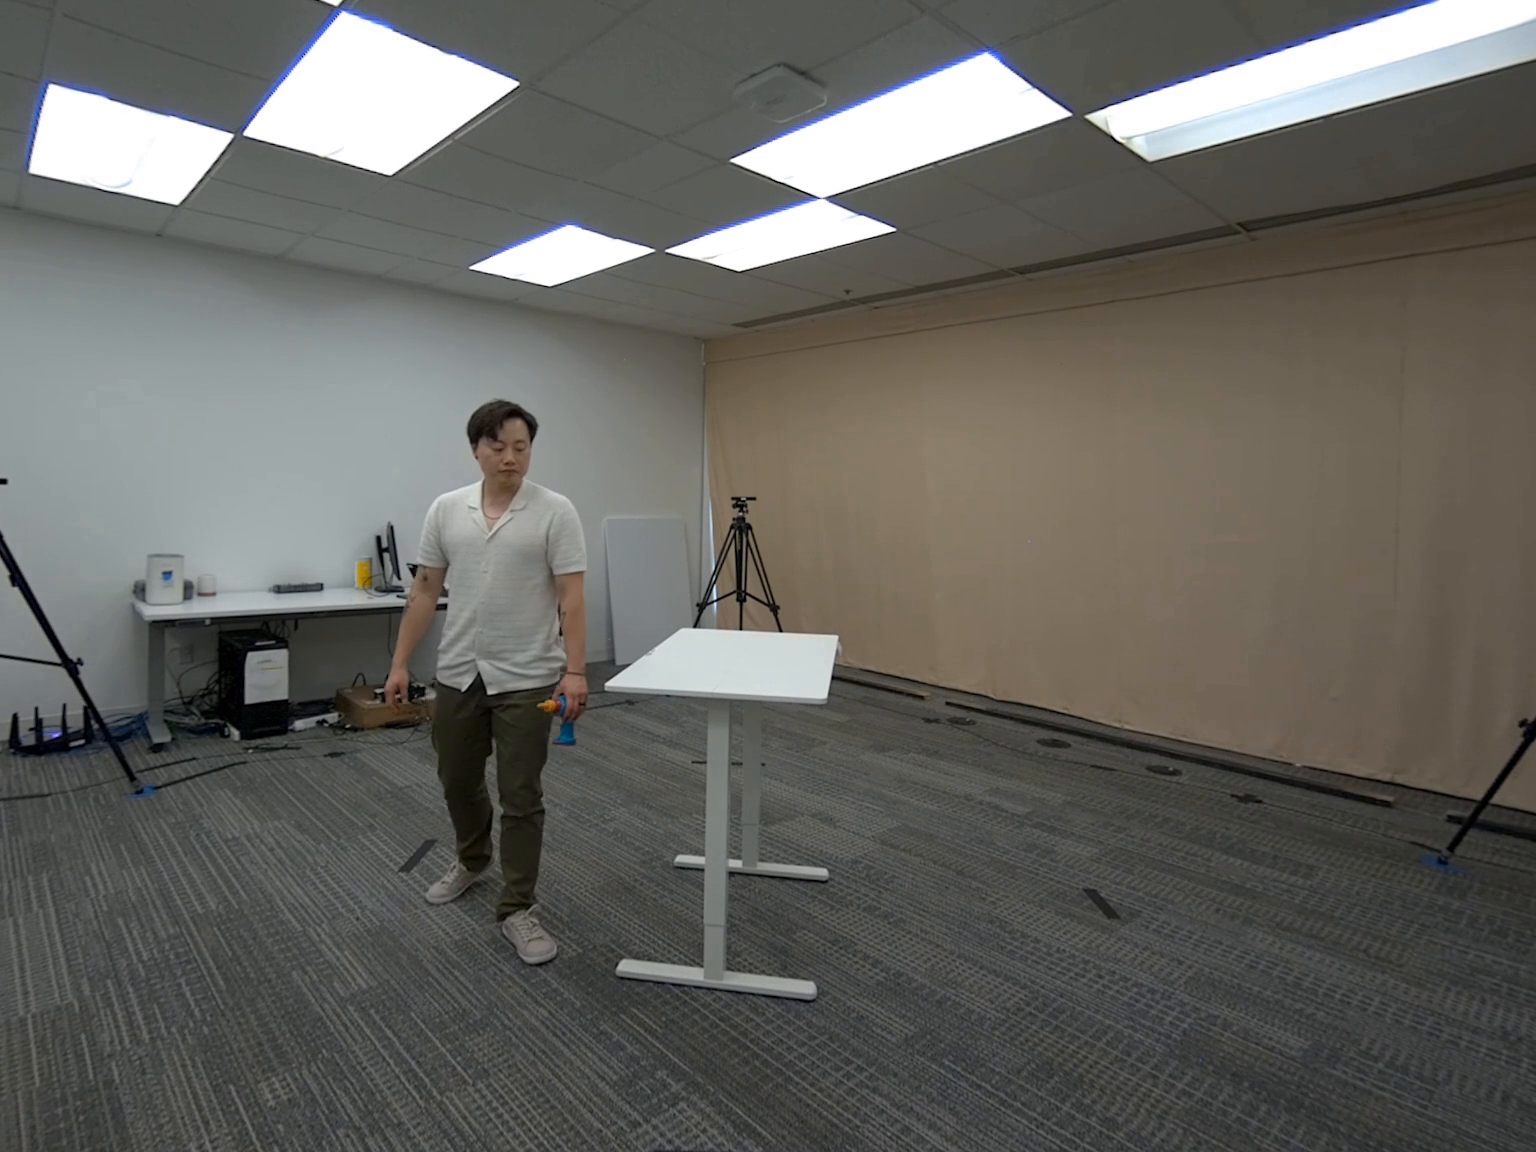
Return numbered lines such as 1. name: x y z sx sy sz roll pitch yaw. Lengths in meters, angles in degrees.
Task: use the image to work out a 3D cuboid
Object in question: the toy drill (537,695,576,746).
1. toy drill: -0.626 0.421 2.507 0.062 0.147 0.165 -1 -9 31
